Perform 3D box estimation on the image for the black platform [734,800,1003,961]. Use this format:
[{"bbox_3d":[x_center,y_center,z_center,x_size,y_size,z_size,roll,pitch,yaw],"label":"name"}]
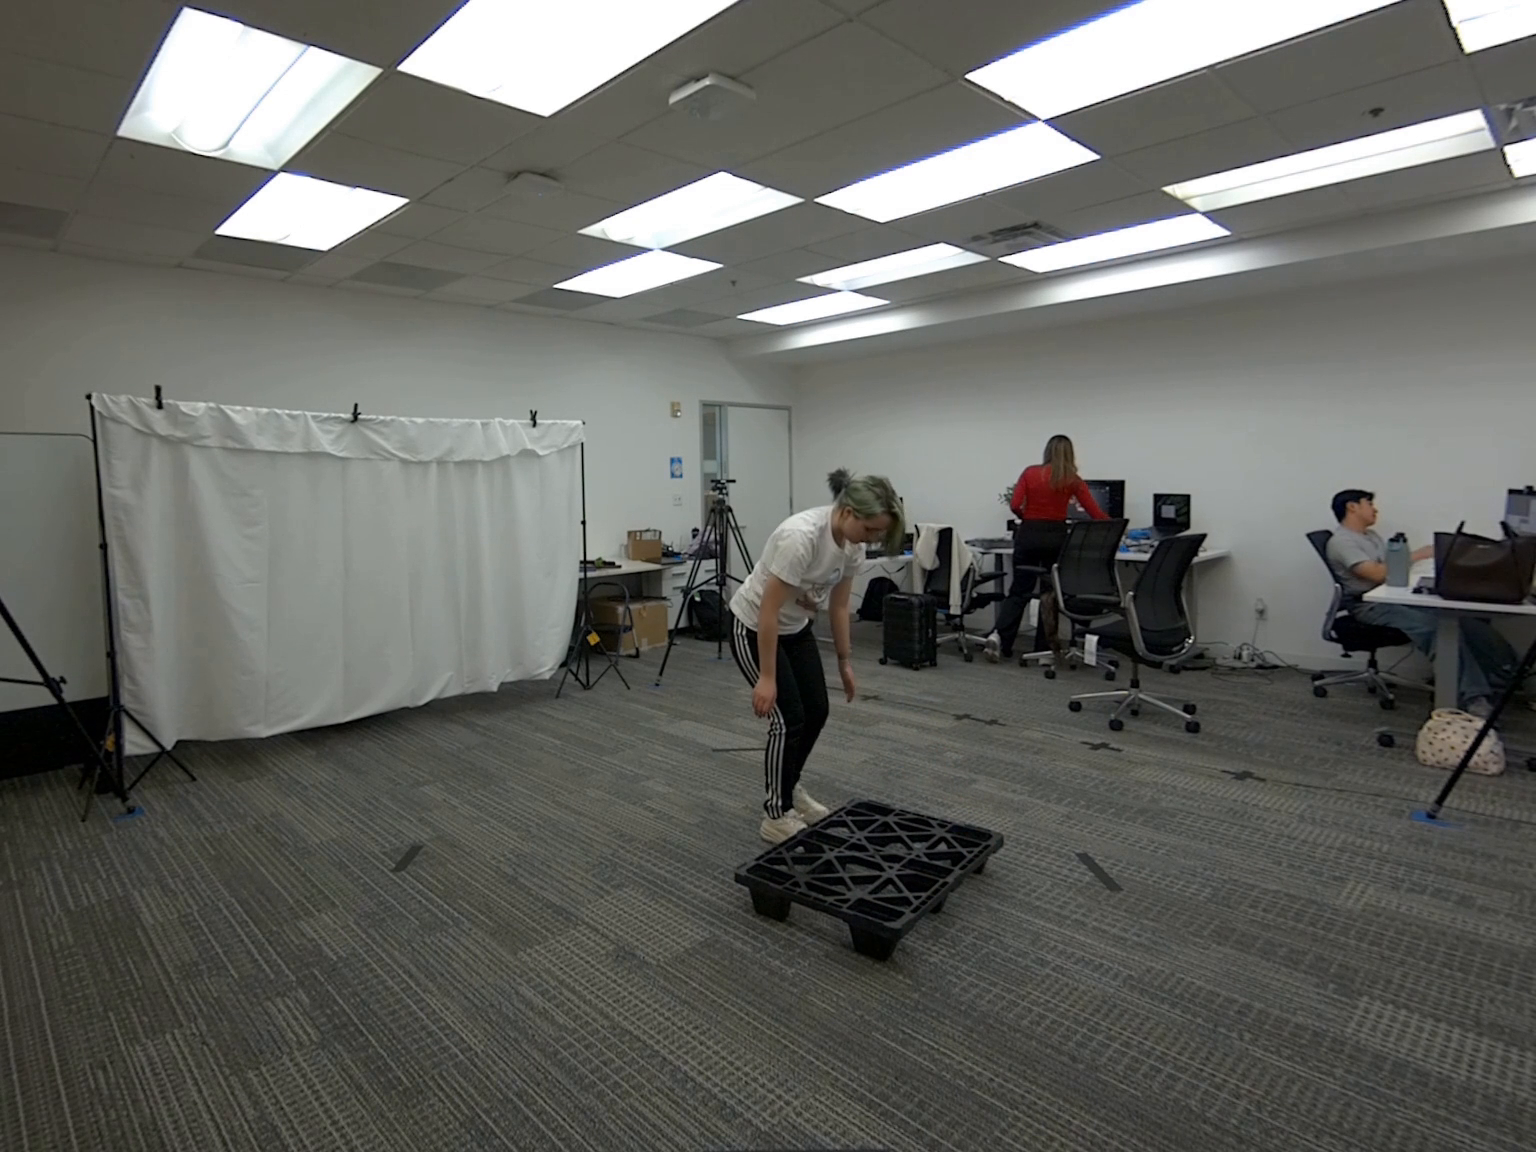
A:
[{"bbox_3d":[0.359,0.998,2.884,0.623,0.143,0.785,3,7,38],"label":"black platform"}]
